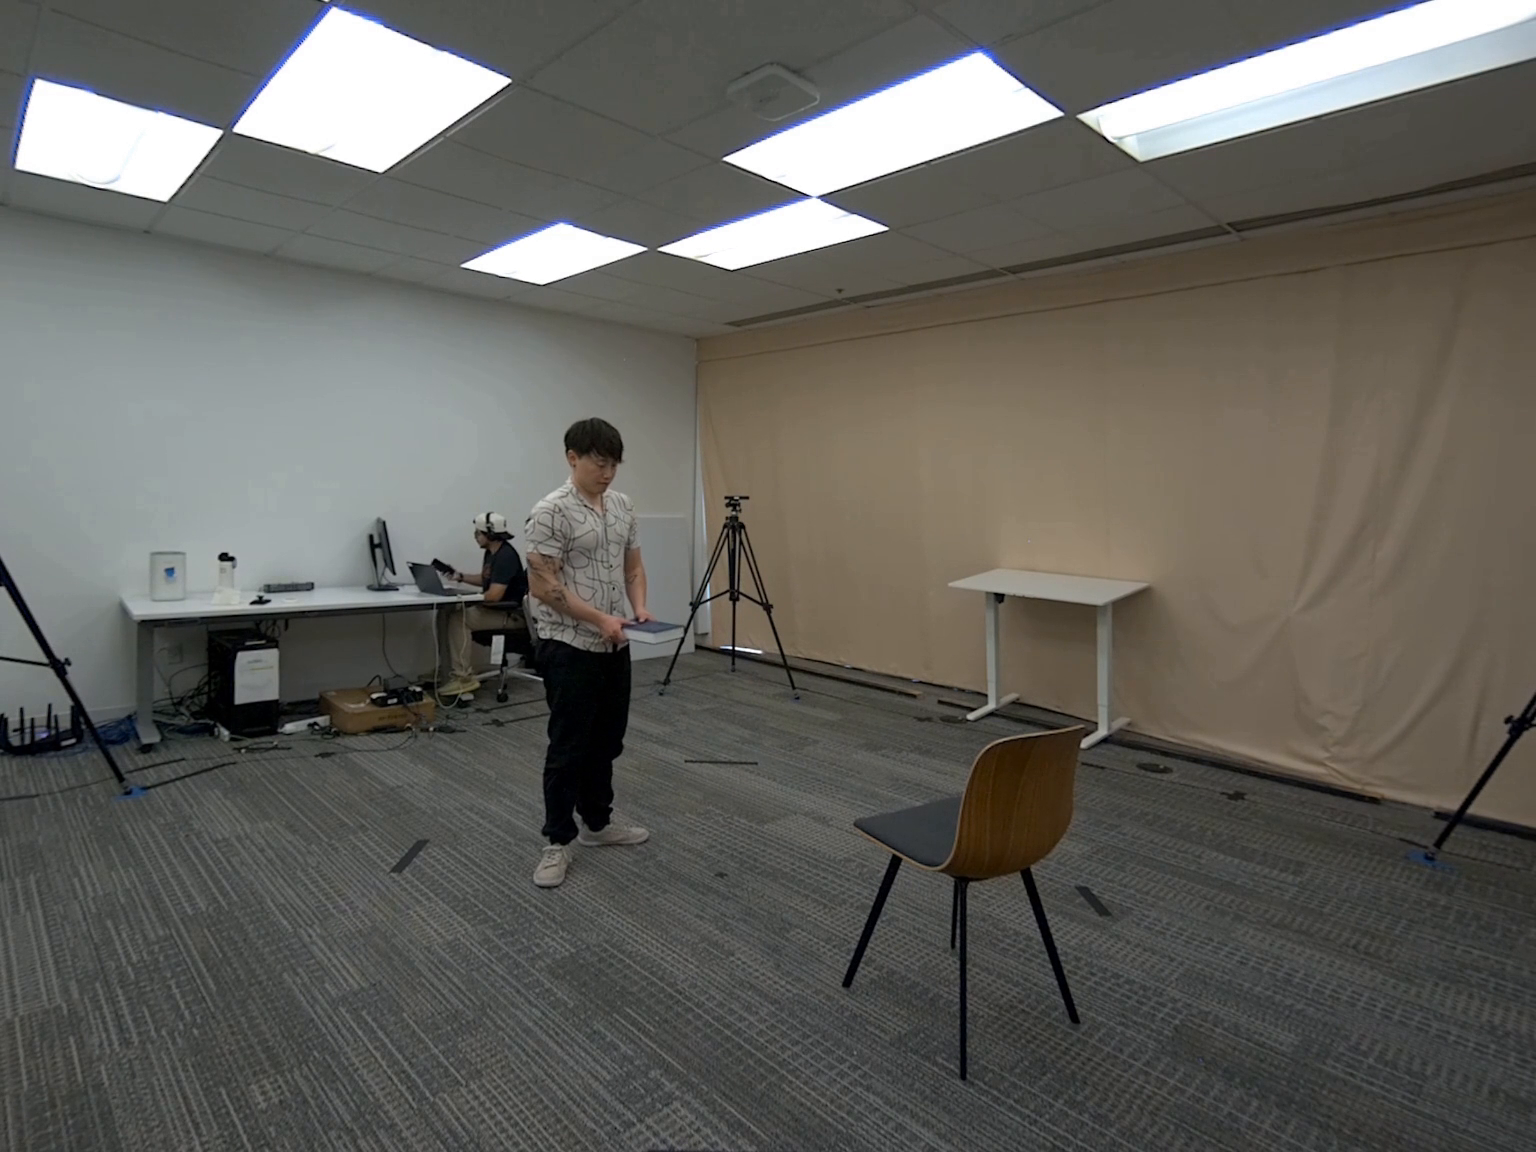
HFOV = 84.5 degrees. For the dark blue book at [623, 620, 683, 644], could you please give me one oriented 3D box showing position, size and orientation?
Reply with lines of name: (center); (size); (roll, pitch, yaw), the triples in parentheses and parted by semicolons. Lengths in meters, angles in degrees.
dark blue book: (-0.474, 0.203, 3.023); (0.251, 0.045, 0.160); (4, 8, 32)
